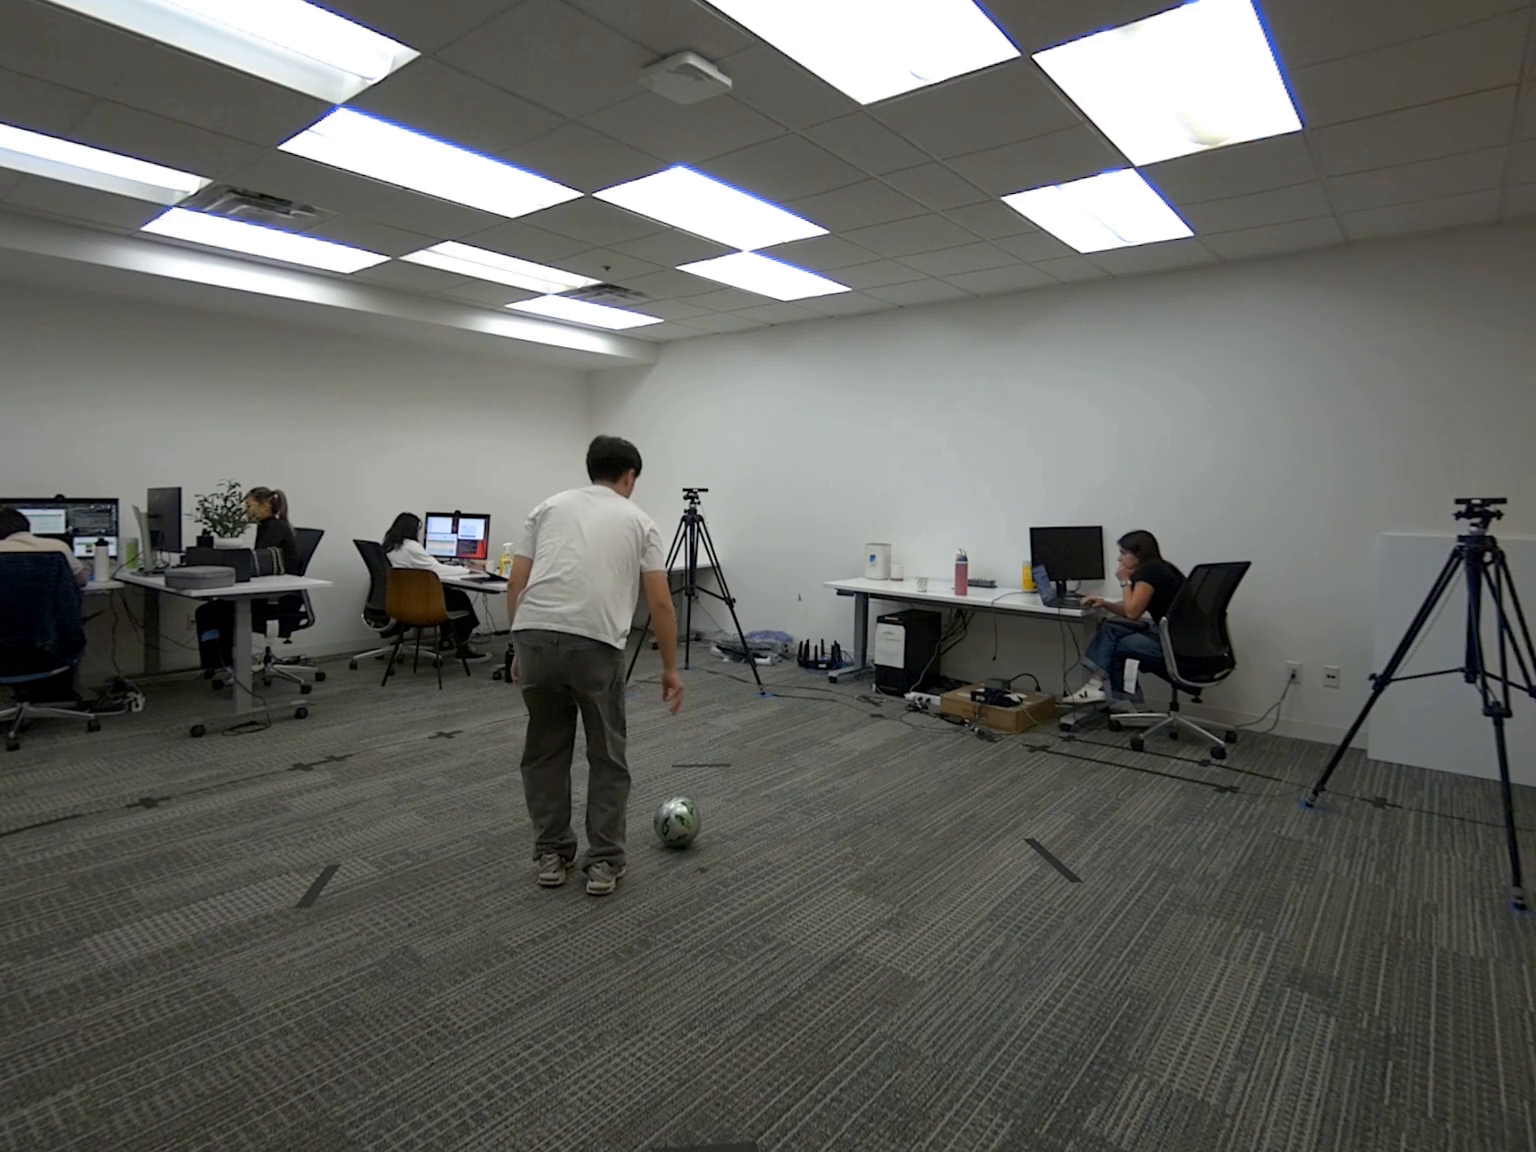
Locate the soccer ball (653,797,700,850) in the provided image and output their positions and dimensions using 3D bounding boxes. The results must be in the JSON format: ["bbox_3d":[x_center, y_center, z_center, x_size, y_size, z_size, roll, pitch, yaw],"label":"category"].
[{"bbox_3d":[-0.350,0.950,3.321,0.187,0.187,0.188,1,4,-2],"label":"soccer ball"}]
